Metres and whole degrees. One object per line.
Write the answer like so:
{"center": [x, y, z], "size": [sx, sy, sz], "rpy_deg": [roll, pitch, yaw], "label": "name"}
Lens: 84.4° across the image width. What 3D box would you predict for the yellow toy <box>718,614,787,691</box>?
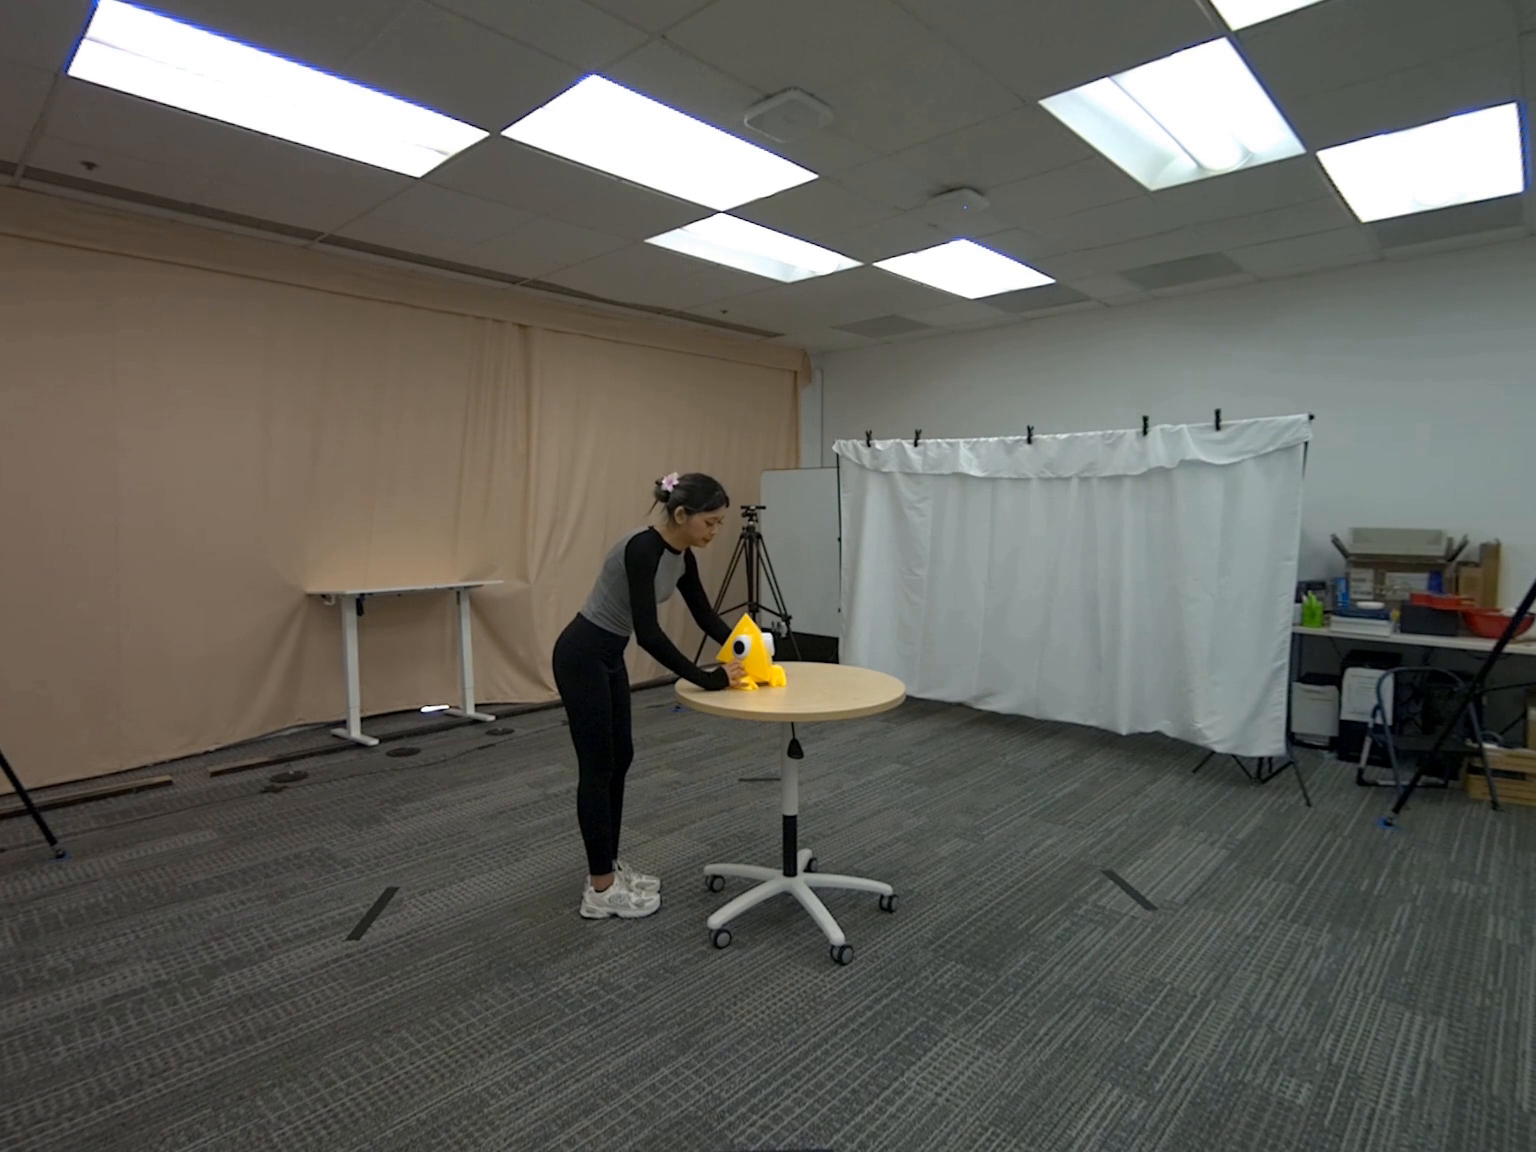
{"center": [-0.041, 0.250, 2.833], "size": [0.200, 0.230, 0.198], "rpy_deg": [-3, 4, -27], "label": "yellow toy"}
